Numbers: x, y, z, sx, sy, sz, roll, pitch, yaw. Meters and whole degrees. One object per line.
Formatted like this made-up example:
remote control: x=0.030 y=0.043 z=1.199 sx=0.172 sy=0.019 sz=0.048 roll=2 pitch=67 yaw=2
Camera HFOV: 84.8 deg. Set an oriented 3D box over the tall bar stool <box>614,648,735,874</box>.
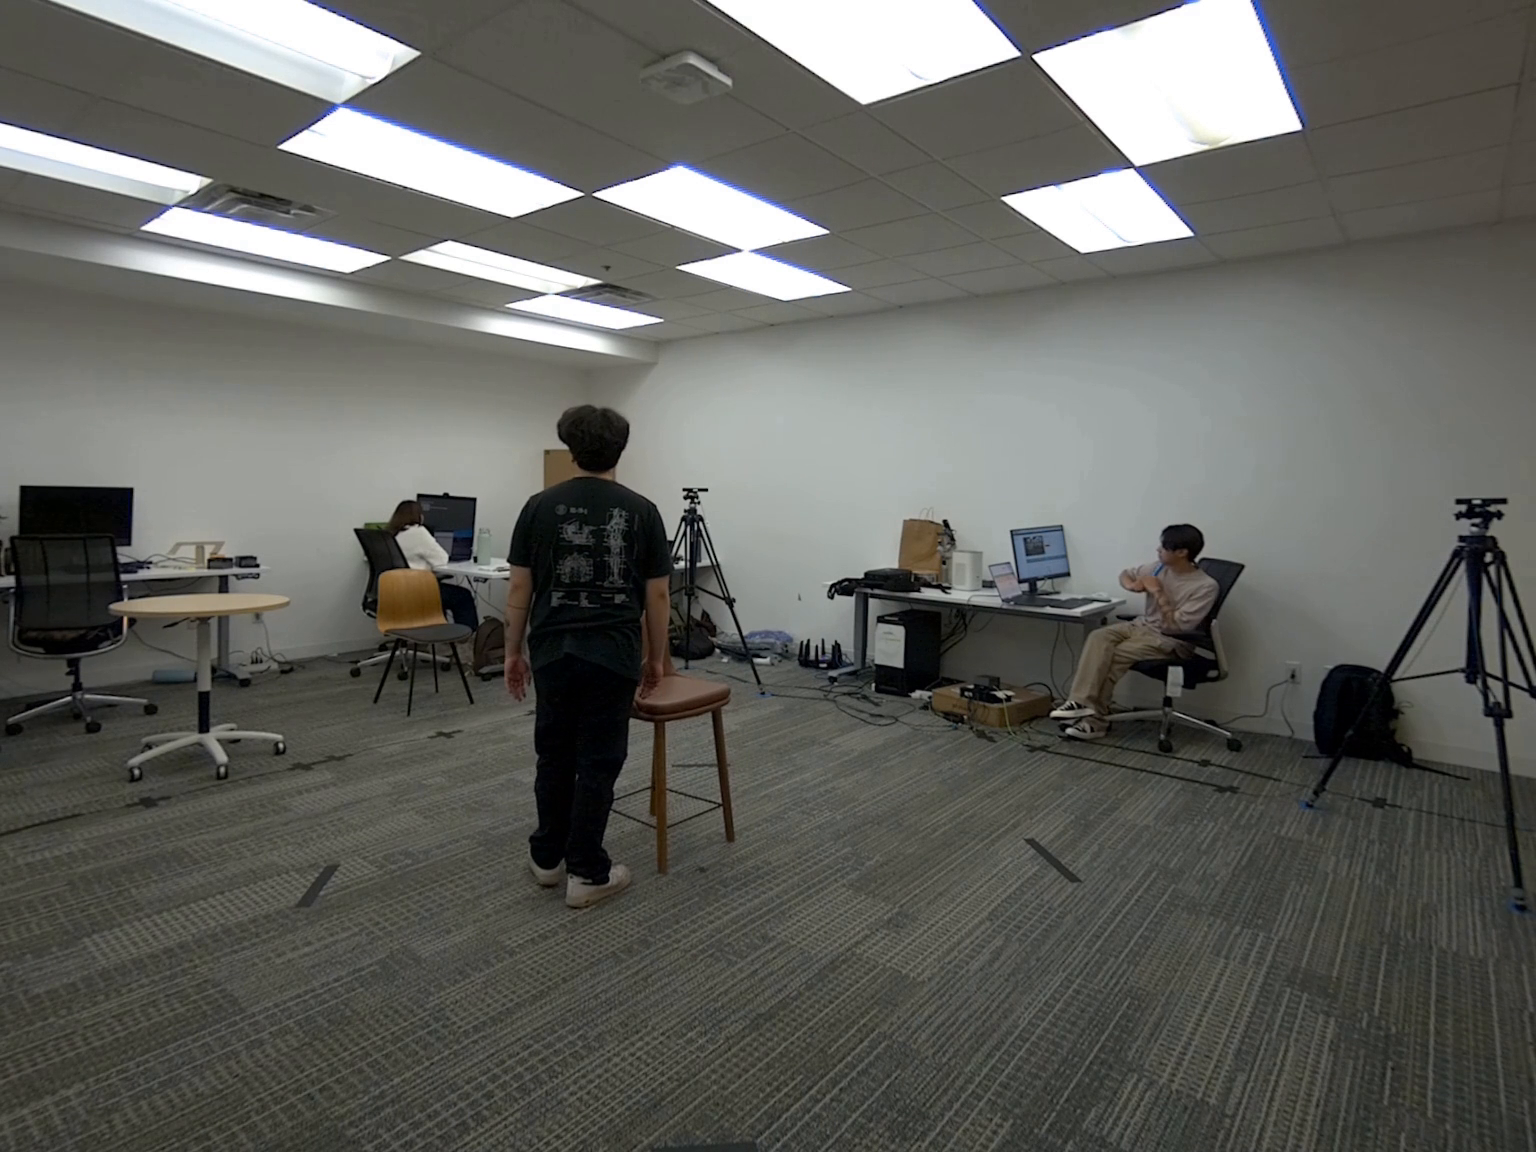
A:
tall bar stool: x=-0.435 y=0.606 z=3.350 sx=0.482 sy=0.889 sz=0.443 roll=0 pitch=2 yaw=40
